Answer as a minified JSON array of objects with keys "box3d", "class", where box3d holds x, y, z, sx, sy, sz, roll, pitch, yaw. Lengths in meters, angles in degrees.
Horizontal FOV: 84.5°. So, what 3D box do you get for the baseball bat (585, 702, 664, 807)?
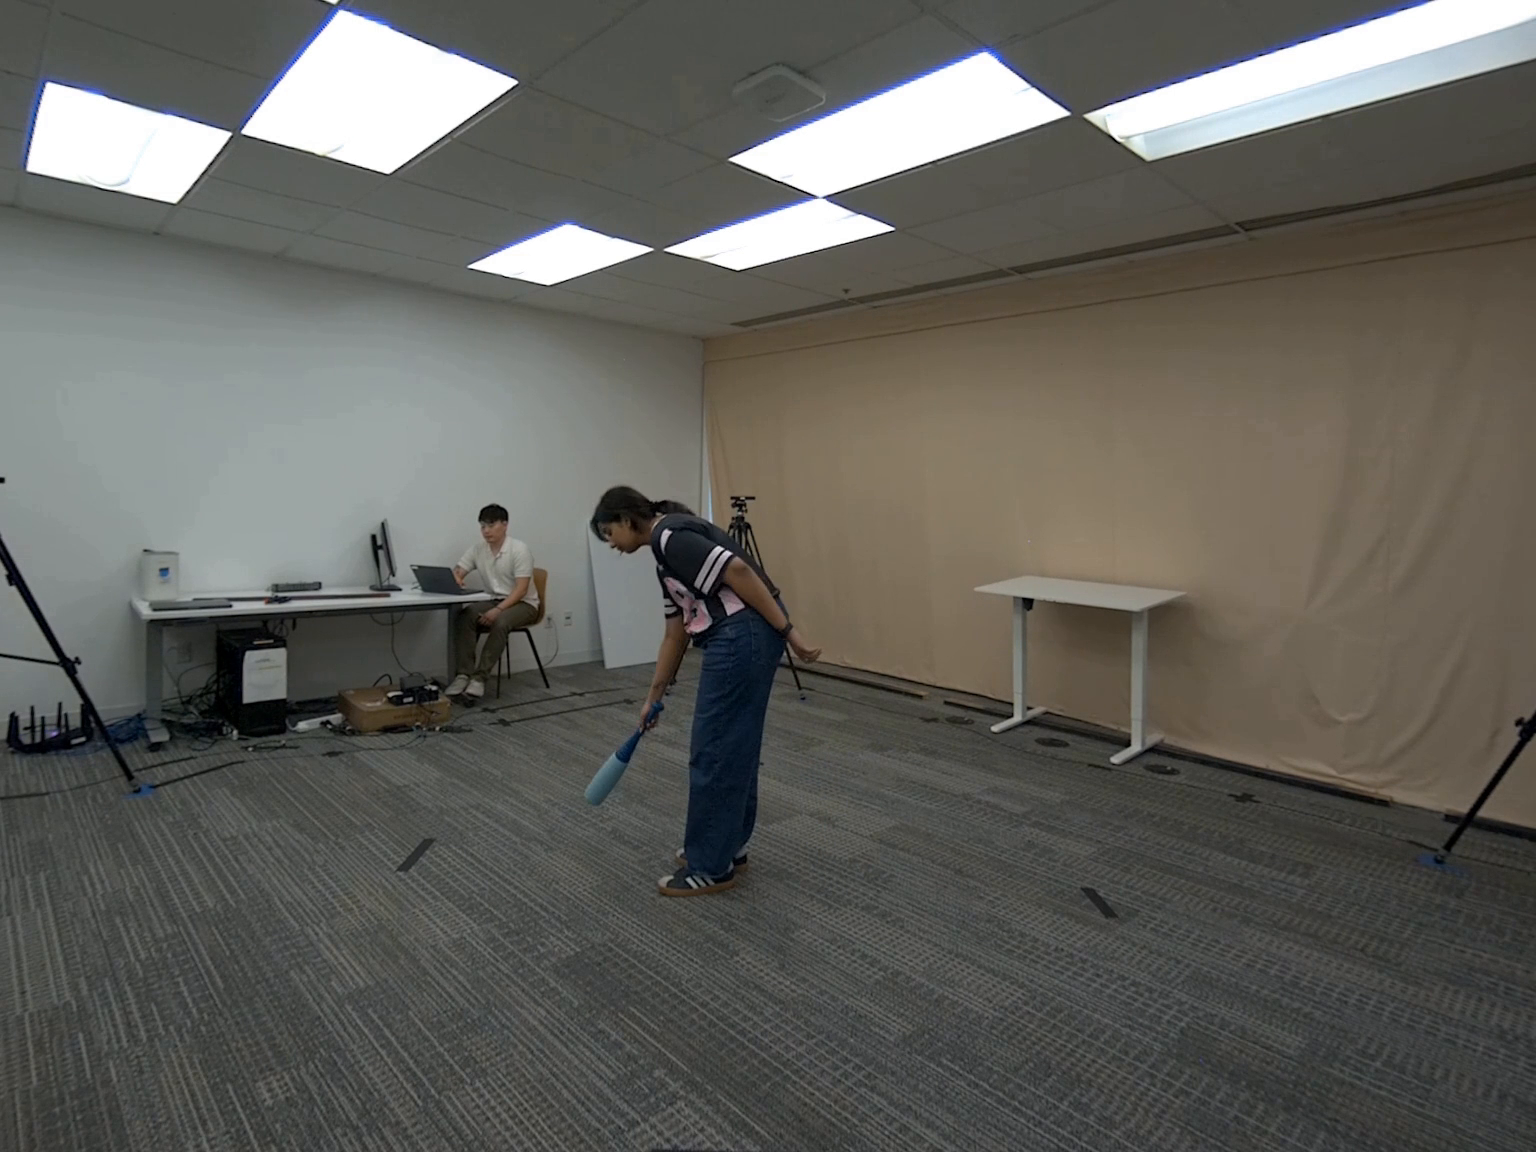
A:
[{"box3d":[-0.574,0.705,3.313,0.088,0.541,0.090,31,20,-14],"class":"baseball bat"}]
